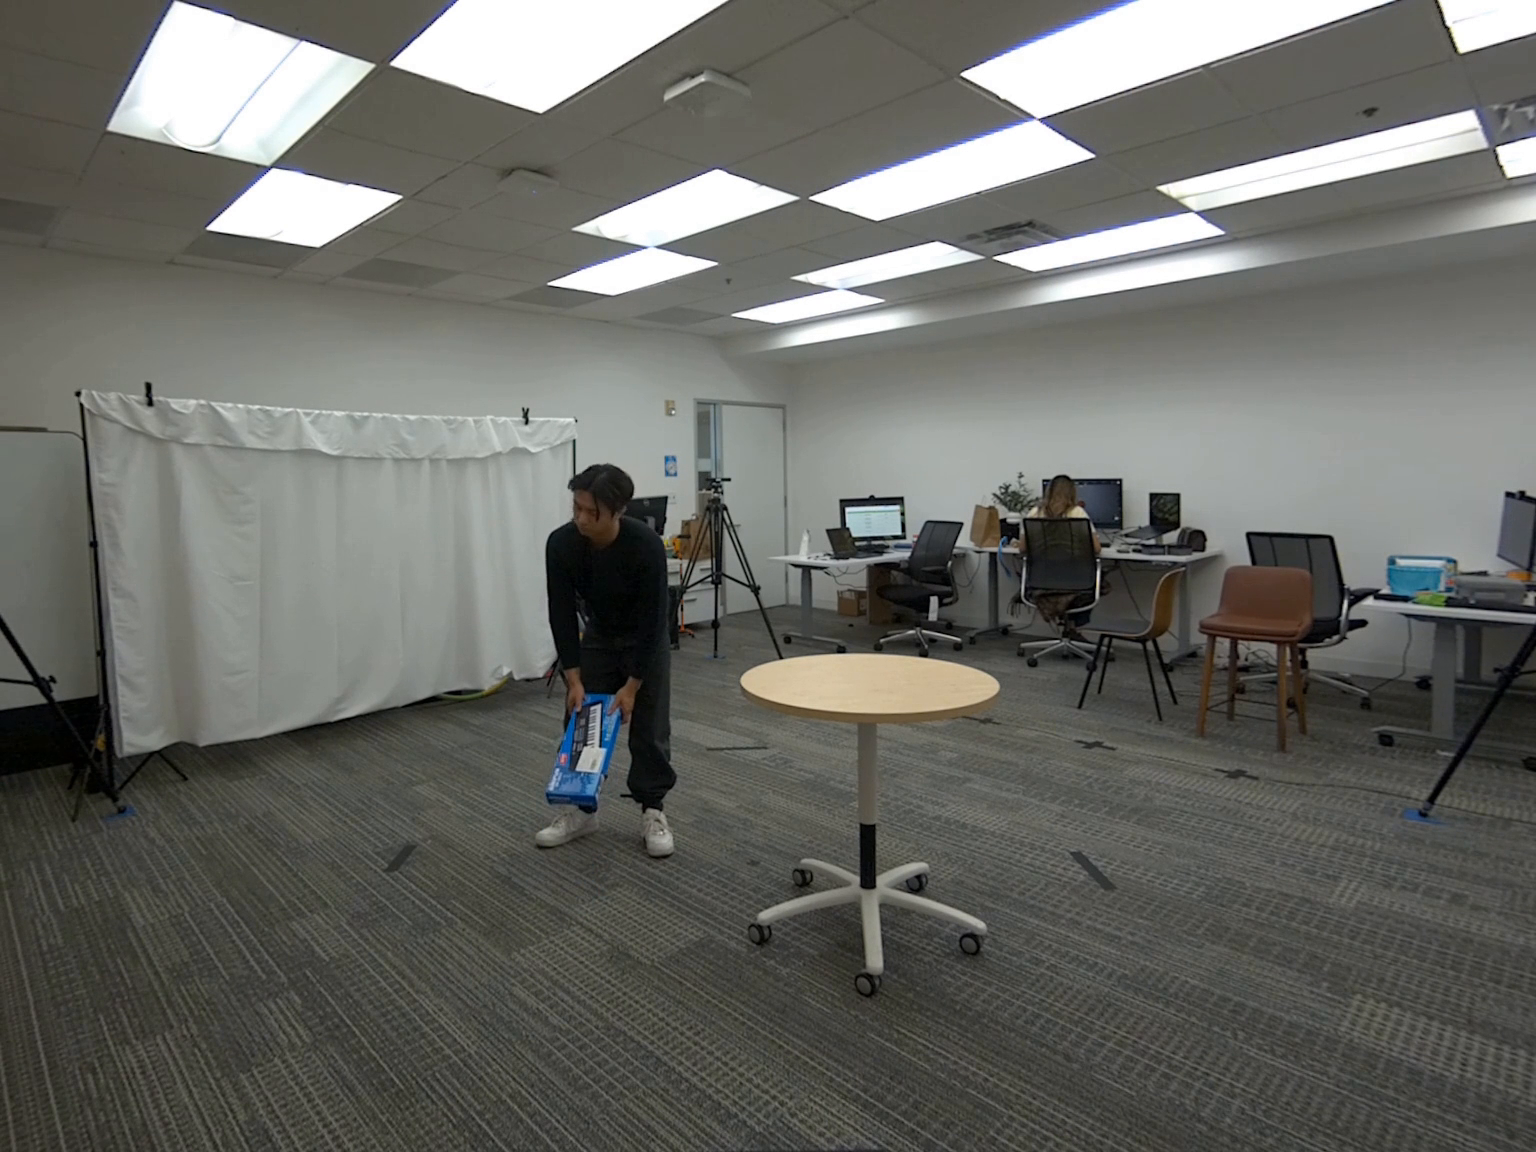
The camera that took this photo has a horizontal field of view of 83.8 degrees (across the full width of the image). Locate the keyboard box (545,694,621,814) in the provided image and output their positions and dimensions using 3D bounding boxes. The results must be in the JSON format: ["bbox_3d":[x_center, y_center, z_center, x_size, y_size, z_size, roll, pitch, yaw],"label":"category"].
[{"bbox_3d":[-0.638,0.611,3.021,0.177,0.057,0.447,-2,40,7],"label":"keyboard box"}]
